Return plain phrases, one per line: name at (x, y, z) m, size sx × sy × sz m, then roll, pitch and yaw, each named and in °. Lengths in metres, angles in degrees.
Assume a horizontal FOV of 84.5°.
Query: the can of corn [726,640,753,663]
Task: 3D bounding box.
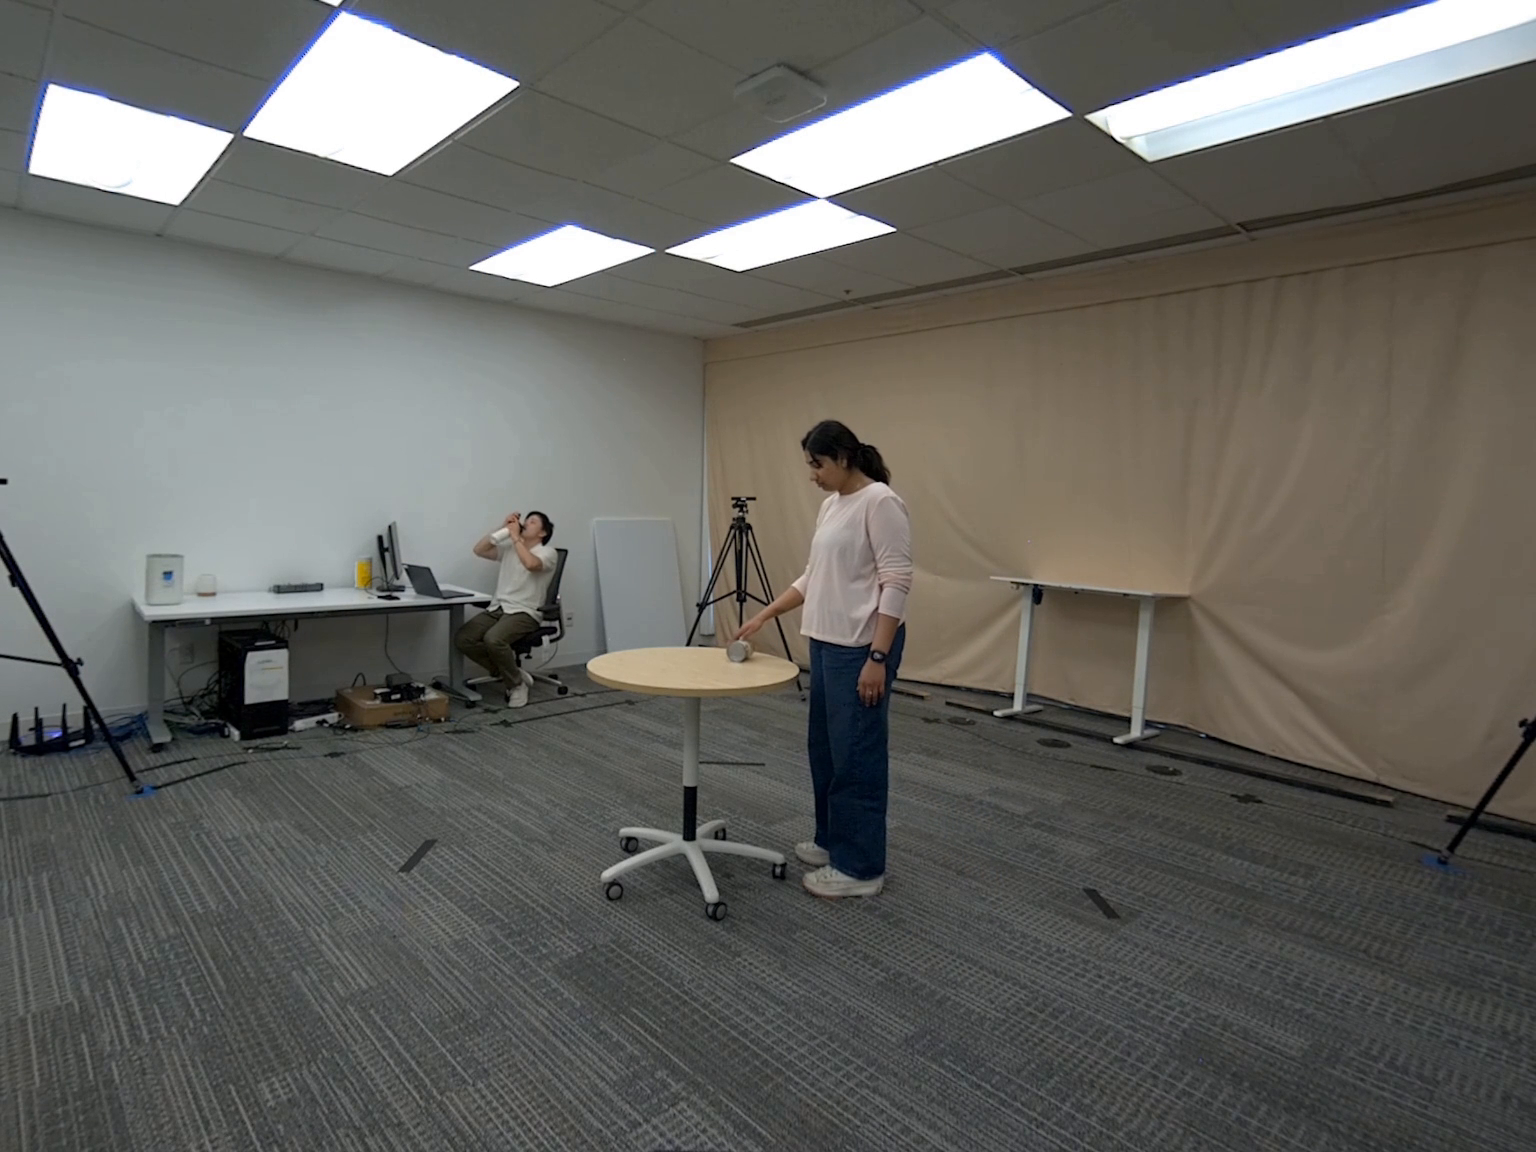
can of corn at (-0.104, 0.278, 3.185) m, size 0.075 × 0.074 × 0.109 m, roll 3°, pitch 4°, yaw 20°
